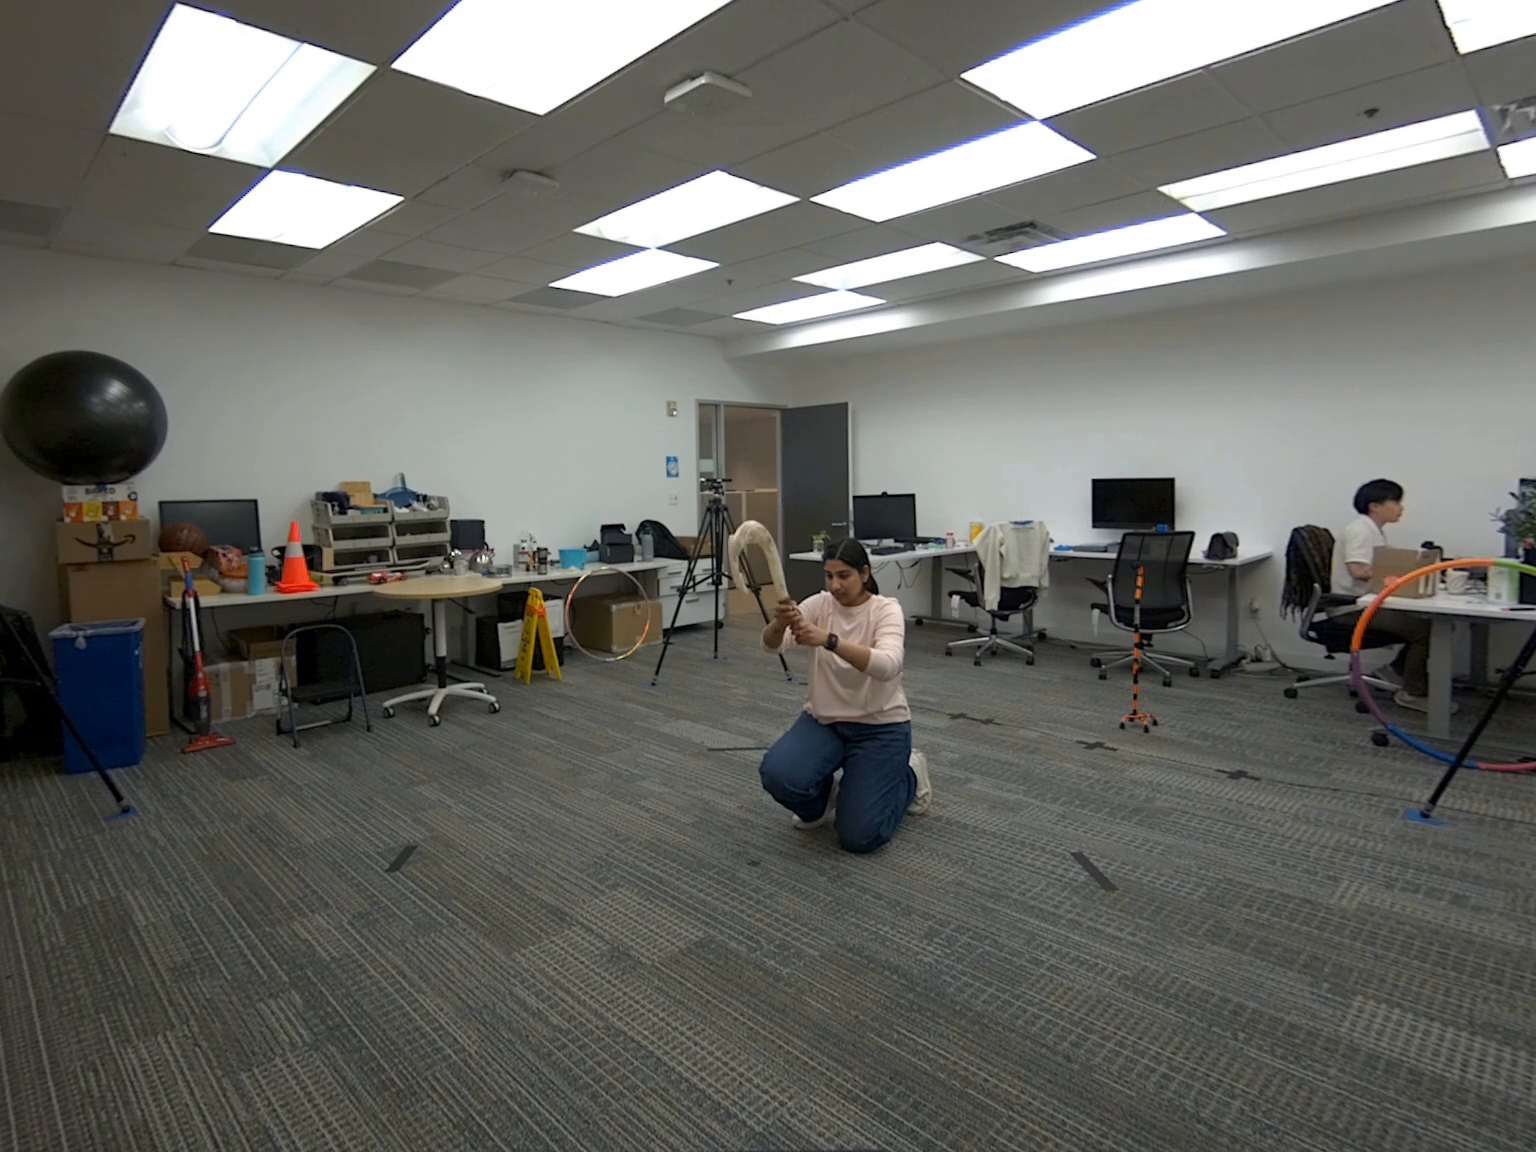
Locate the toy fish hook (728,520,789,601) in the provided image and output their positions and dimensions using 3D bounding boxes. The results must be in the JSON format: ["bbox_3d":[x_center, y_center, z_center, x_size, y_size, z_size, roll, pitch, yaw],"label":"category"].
[{"bbox_3d":[0.011,0.056,2.852,0.050,0.494,0.224,0,33,49],"label":"toy fish hook"}]
